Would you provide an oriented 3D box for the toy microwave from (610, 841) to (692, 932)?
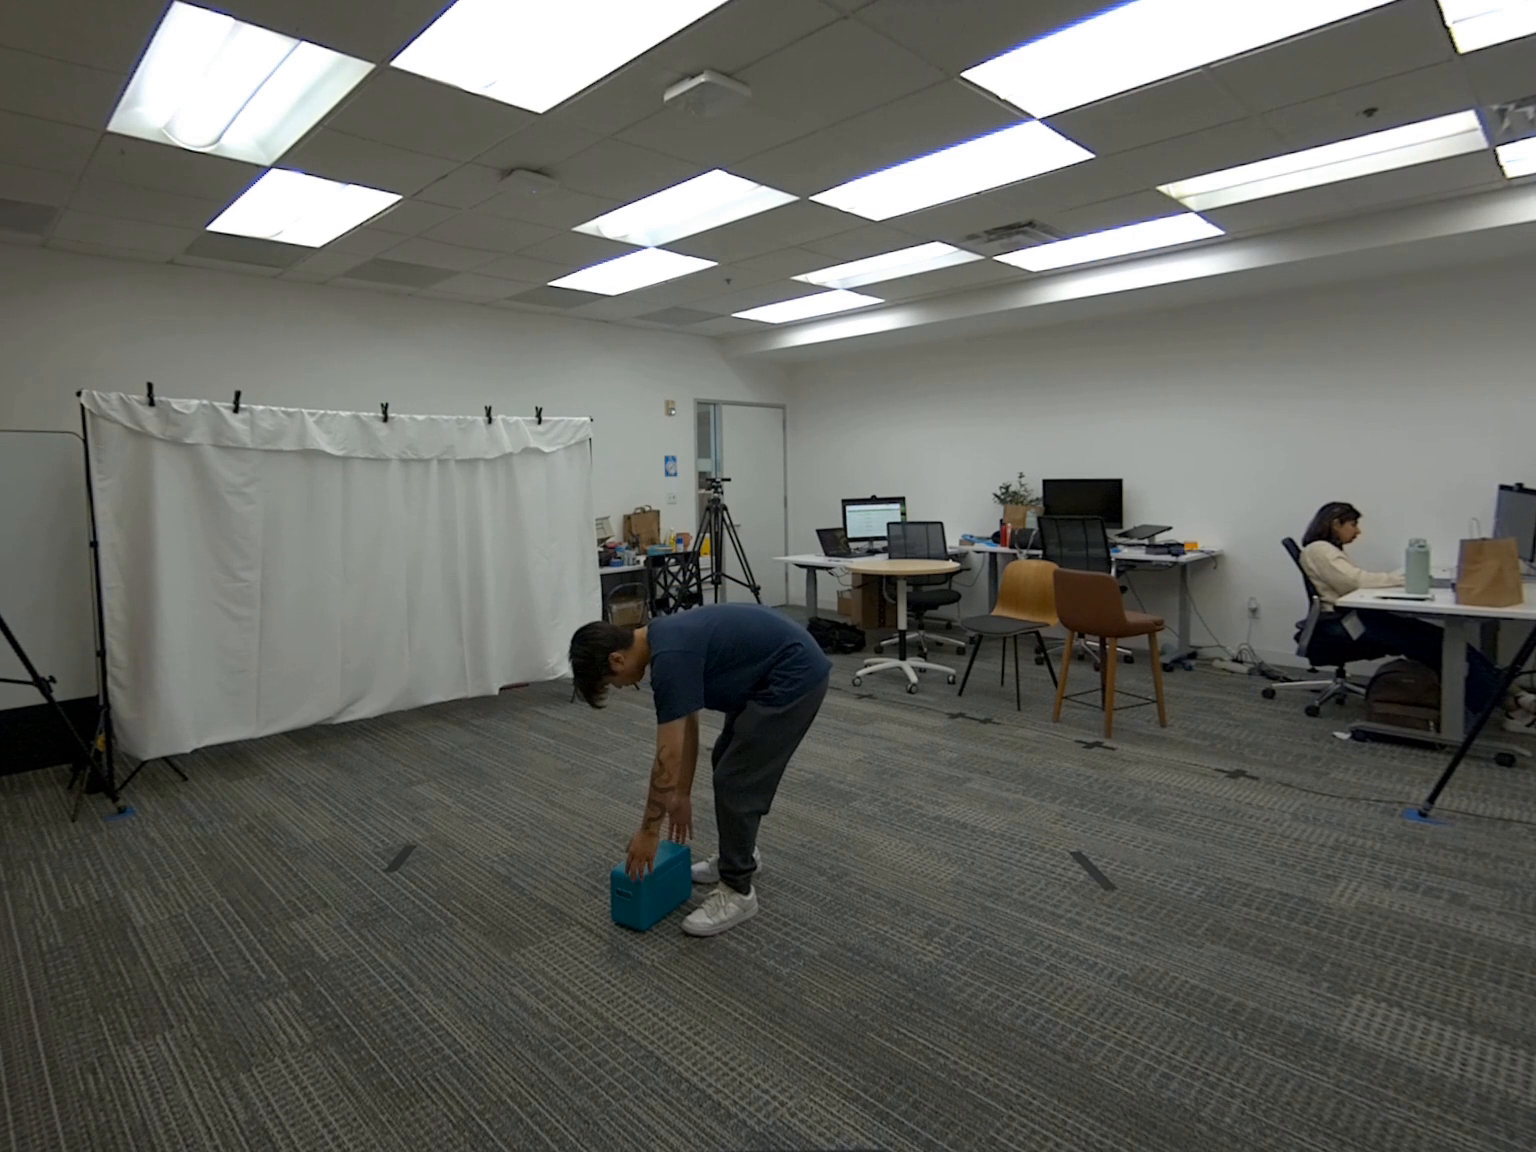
[{"bbox_3d":[-0.376,0.994,2.774,0.156,0.183,0.280,2,6,30],"label":"toy microwave"}]
